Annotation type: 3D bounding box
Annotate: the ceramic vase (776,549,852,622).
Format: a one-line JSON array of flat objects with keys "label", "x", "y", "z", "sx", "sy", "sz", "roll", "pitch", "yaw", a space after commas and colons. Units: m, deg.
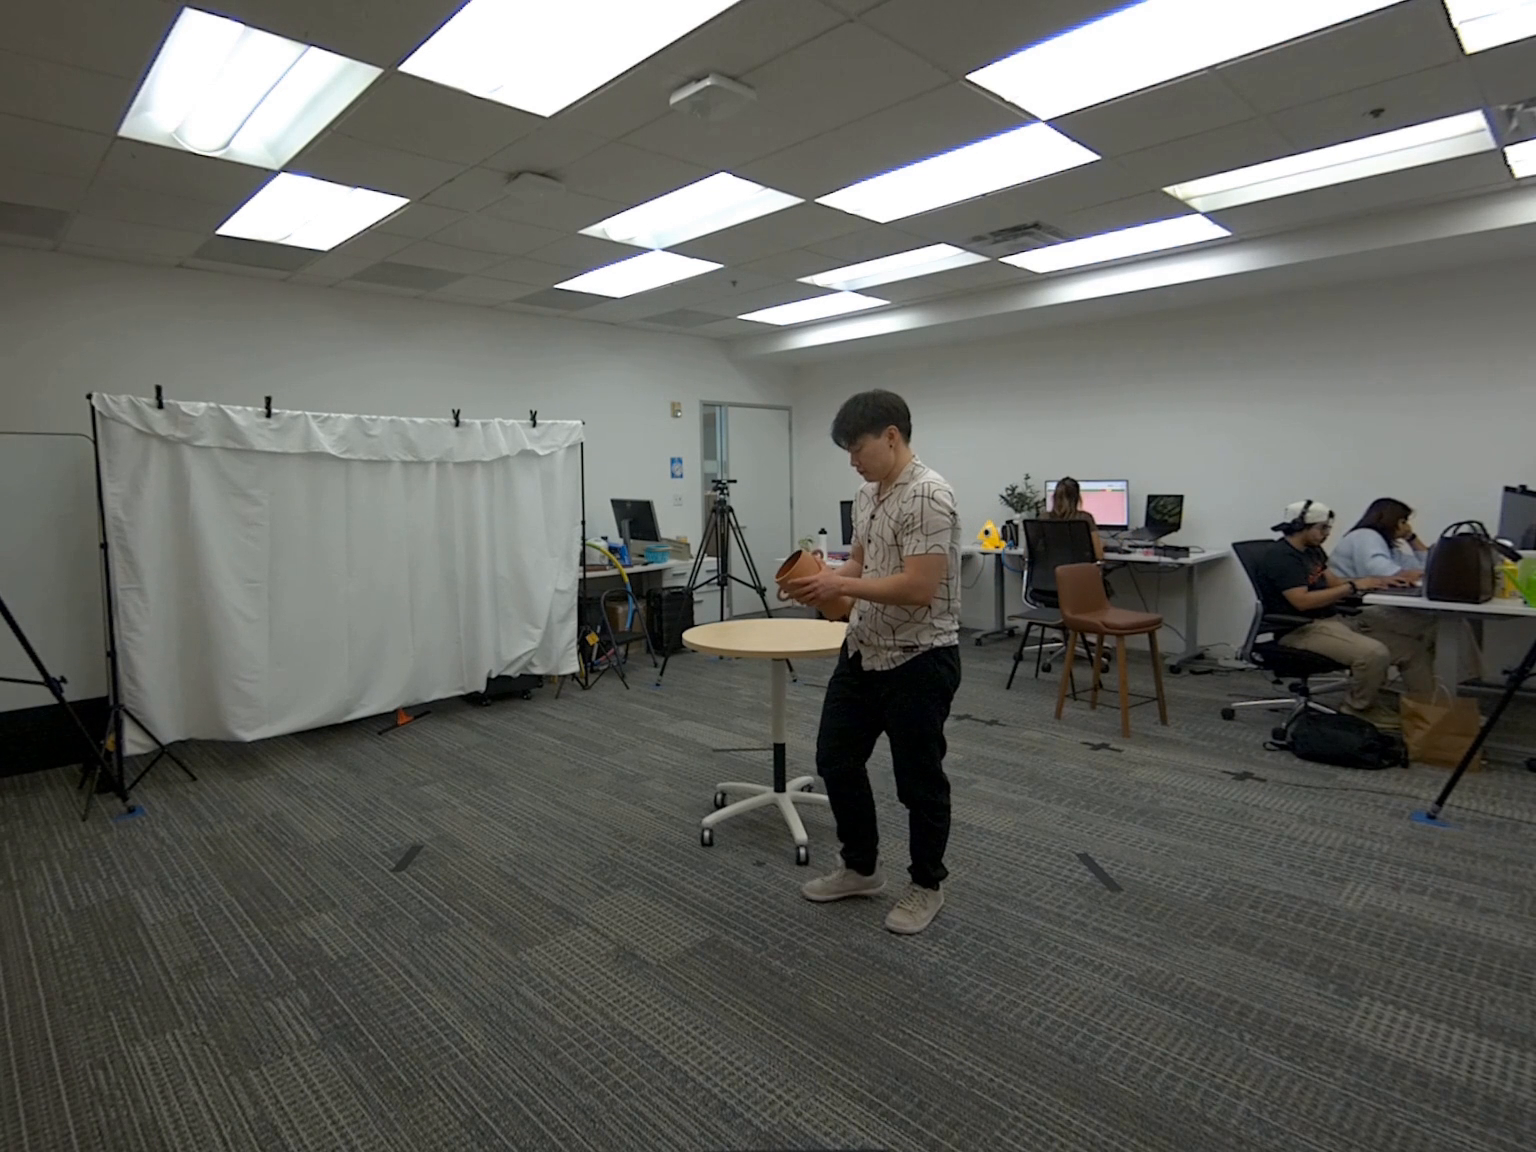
[{"label": "ceramic vase", "x": 0.145, "y": 0.034, "z": 2.600, "sx": 0.159, "sy": 0.216, "sz": 0.136, "roll": -41, "pitch": 14, "yaw": 31}]
